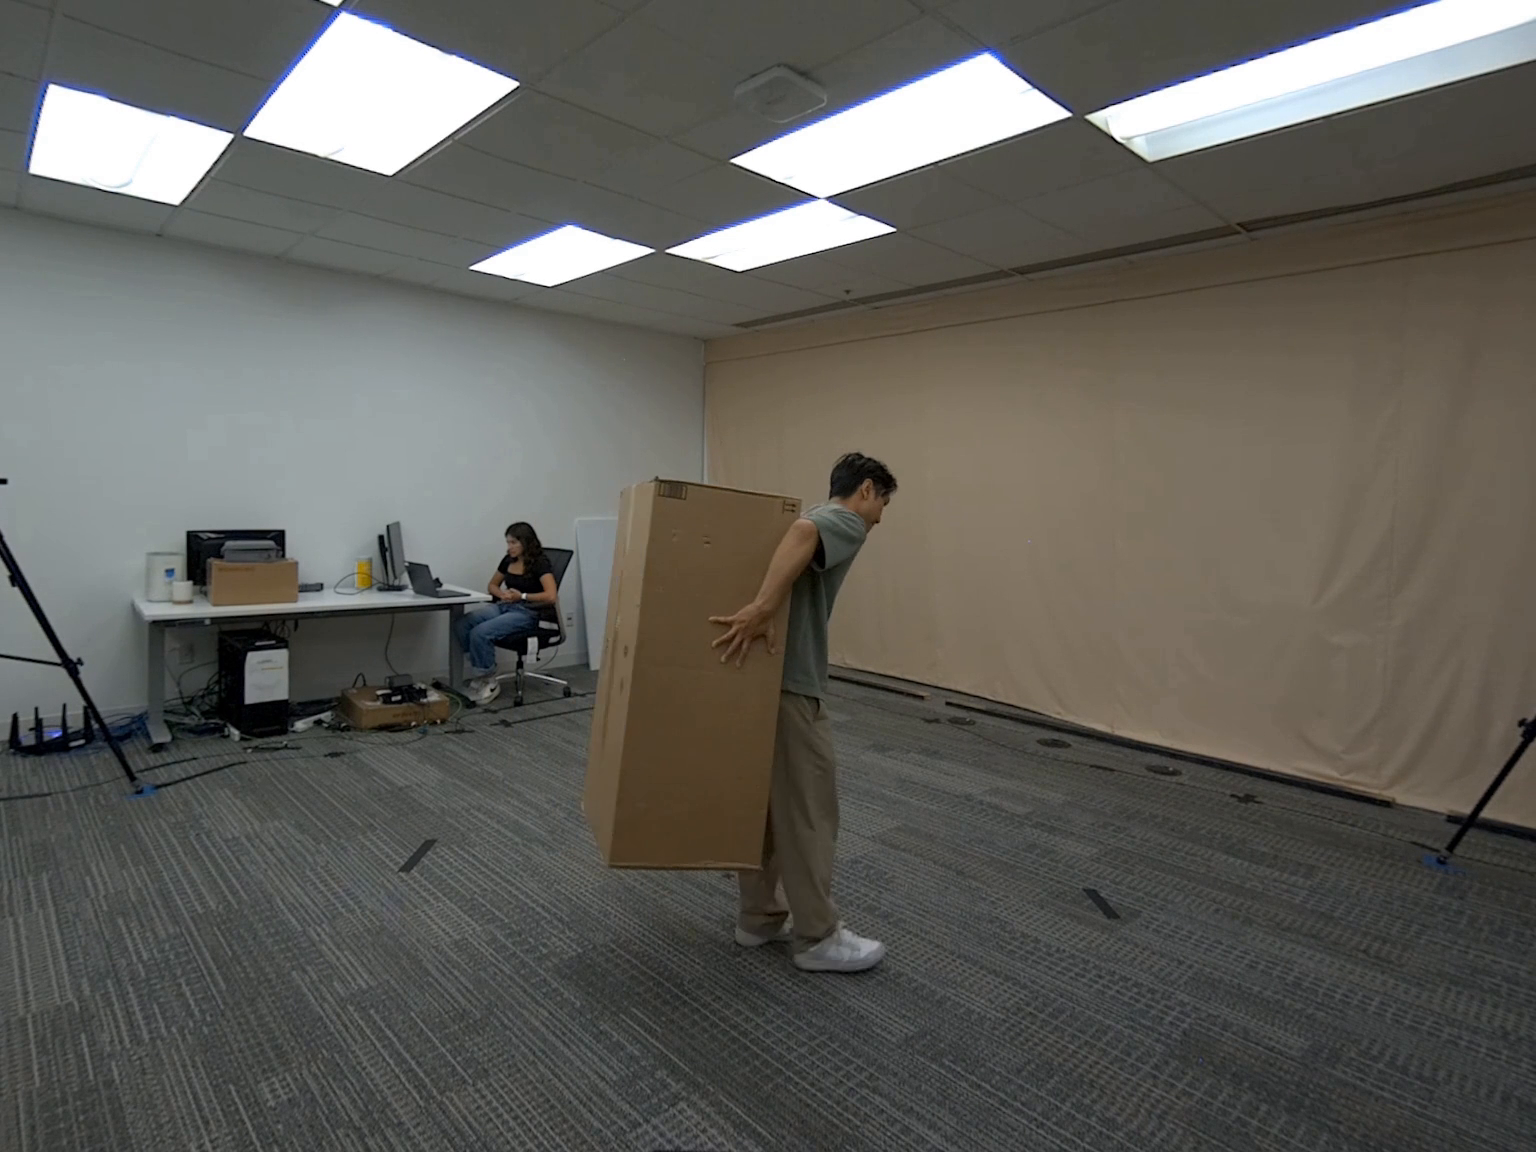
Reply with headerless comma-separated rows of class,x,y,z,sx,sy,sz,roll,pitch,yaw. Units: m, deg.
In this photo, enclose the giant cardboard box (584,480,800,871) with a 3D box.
giant cardboard box,-0.250,0.268,2.508,0.420,1.027,0.585,8,-3,-18
